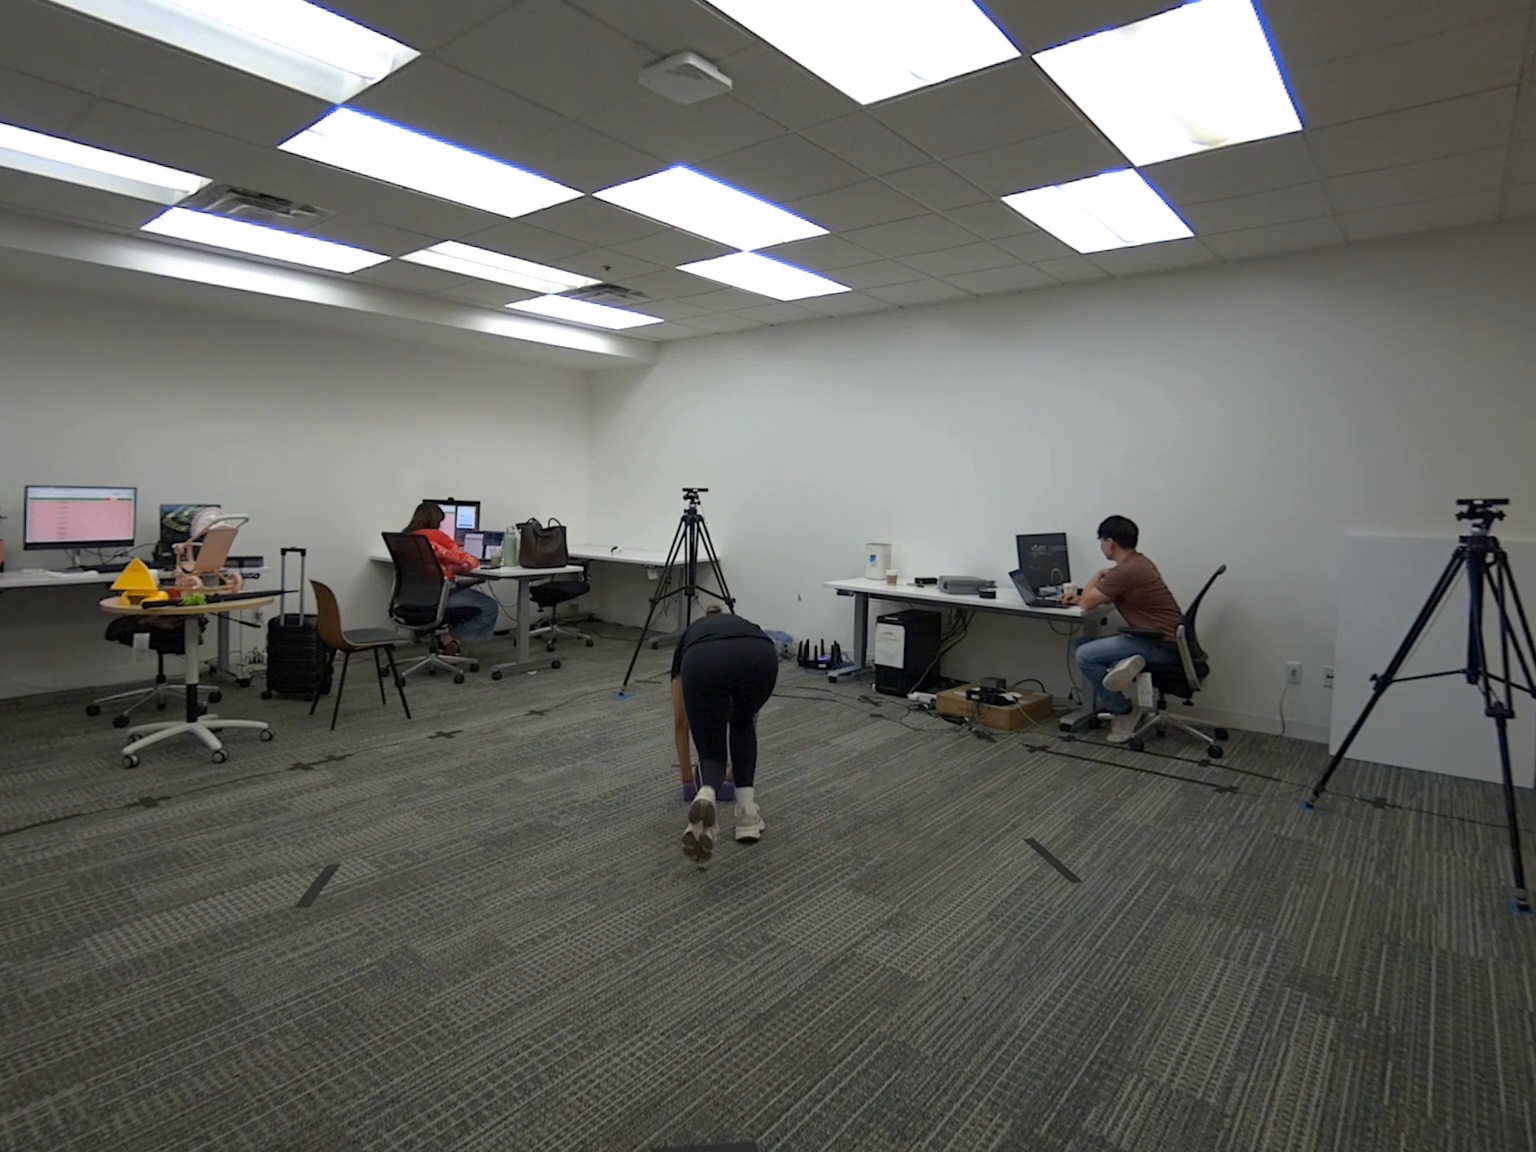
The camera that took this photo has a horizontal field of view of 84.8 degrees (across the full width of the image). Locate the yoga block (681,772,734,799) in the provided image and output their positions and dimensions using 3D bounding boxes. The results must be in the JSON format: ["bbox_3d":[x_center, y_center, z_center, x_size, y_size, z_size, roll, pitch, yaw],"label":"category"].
[{"bbox_3d":[-0.283,0.959,3.865,0.228,0.076,0.149,-1,-1,-4],"label":"yoga block"}]
